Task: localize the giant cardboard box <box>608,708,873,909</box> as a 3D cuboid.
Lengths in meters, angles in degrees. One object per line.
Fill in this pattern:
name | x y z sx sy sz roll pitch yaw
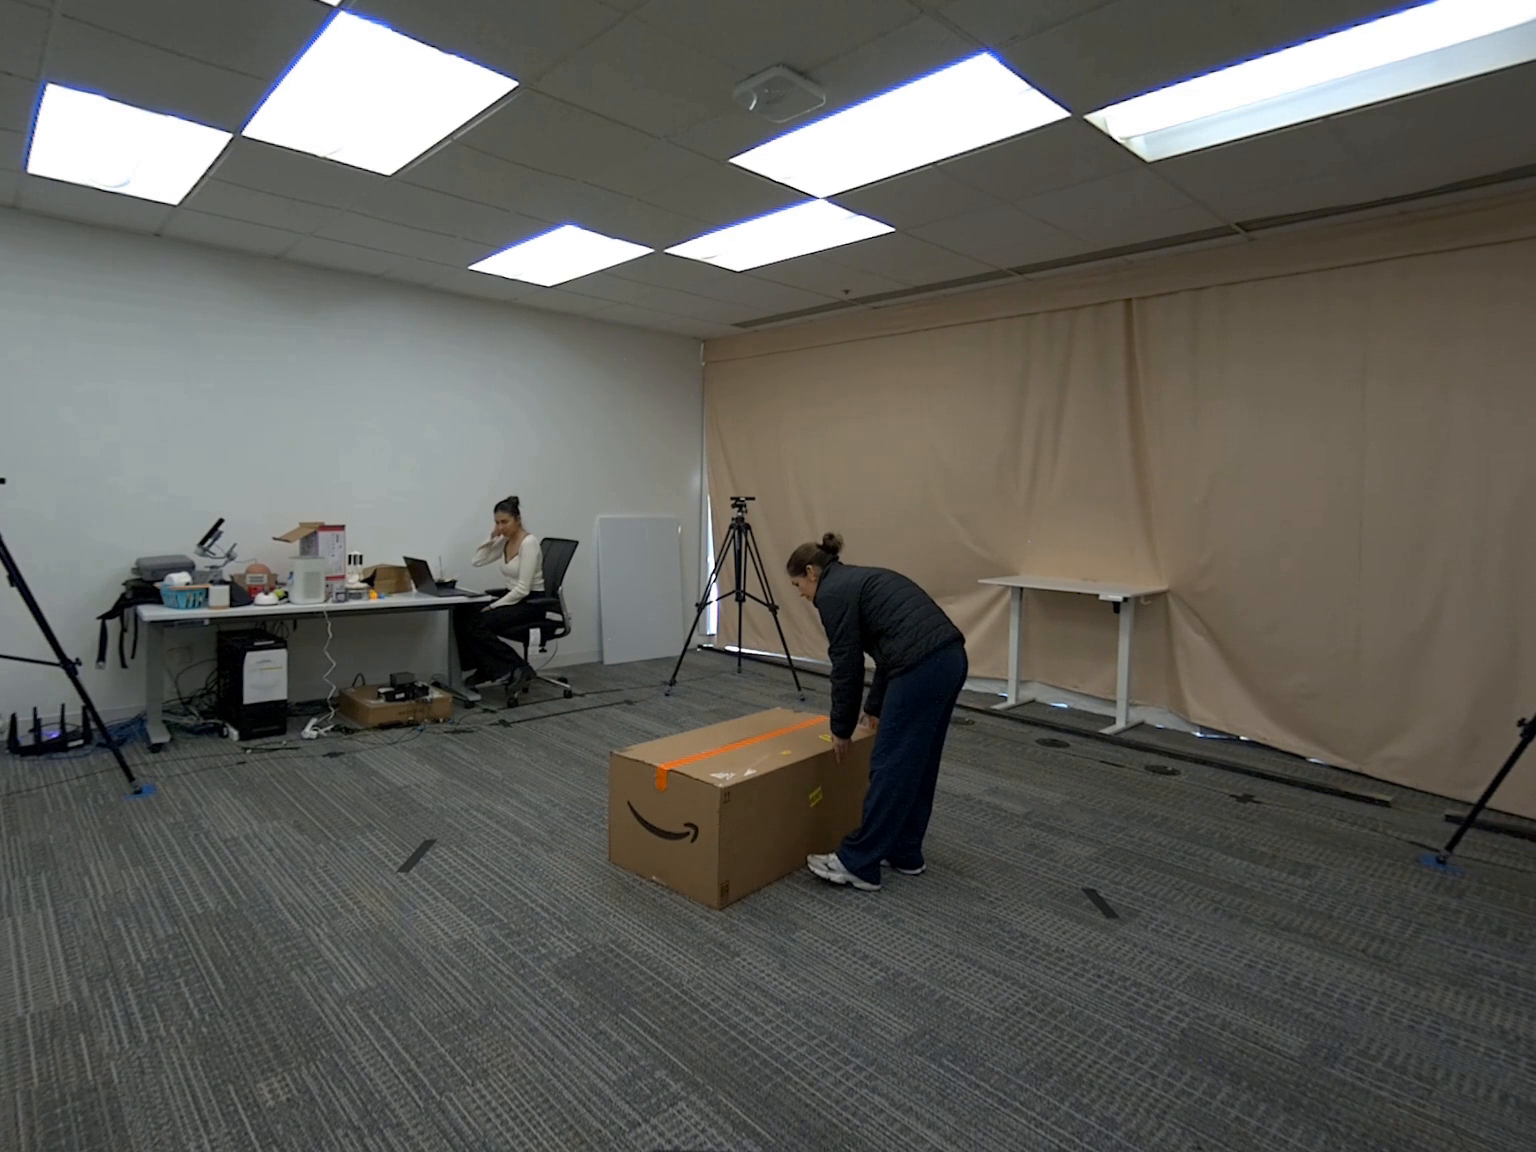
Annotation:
giant cardboard box | -0.070 0.871 3.380 0.592 0.425 1.003 6 6 39
